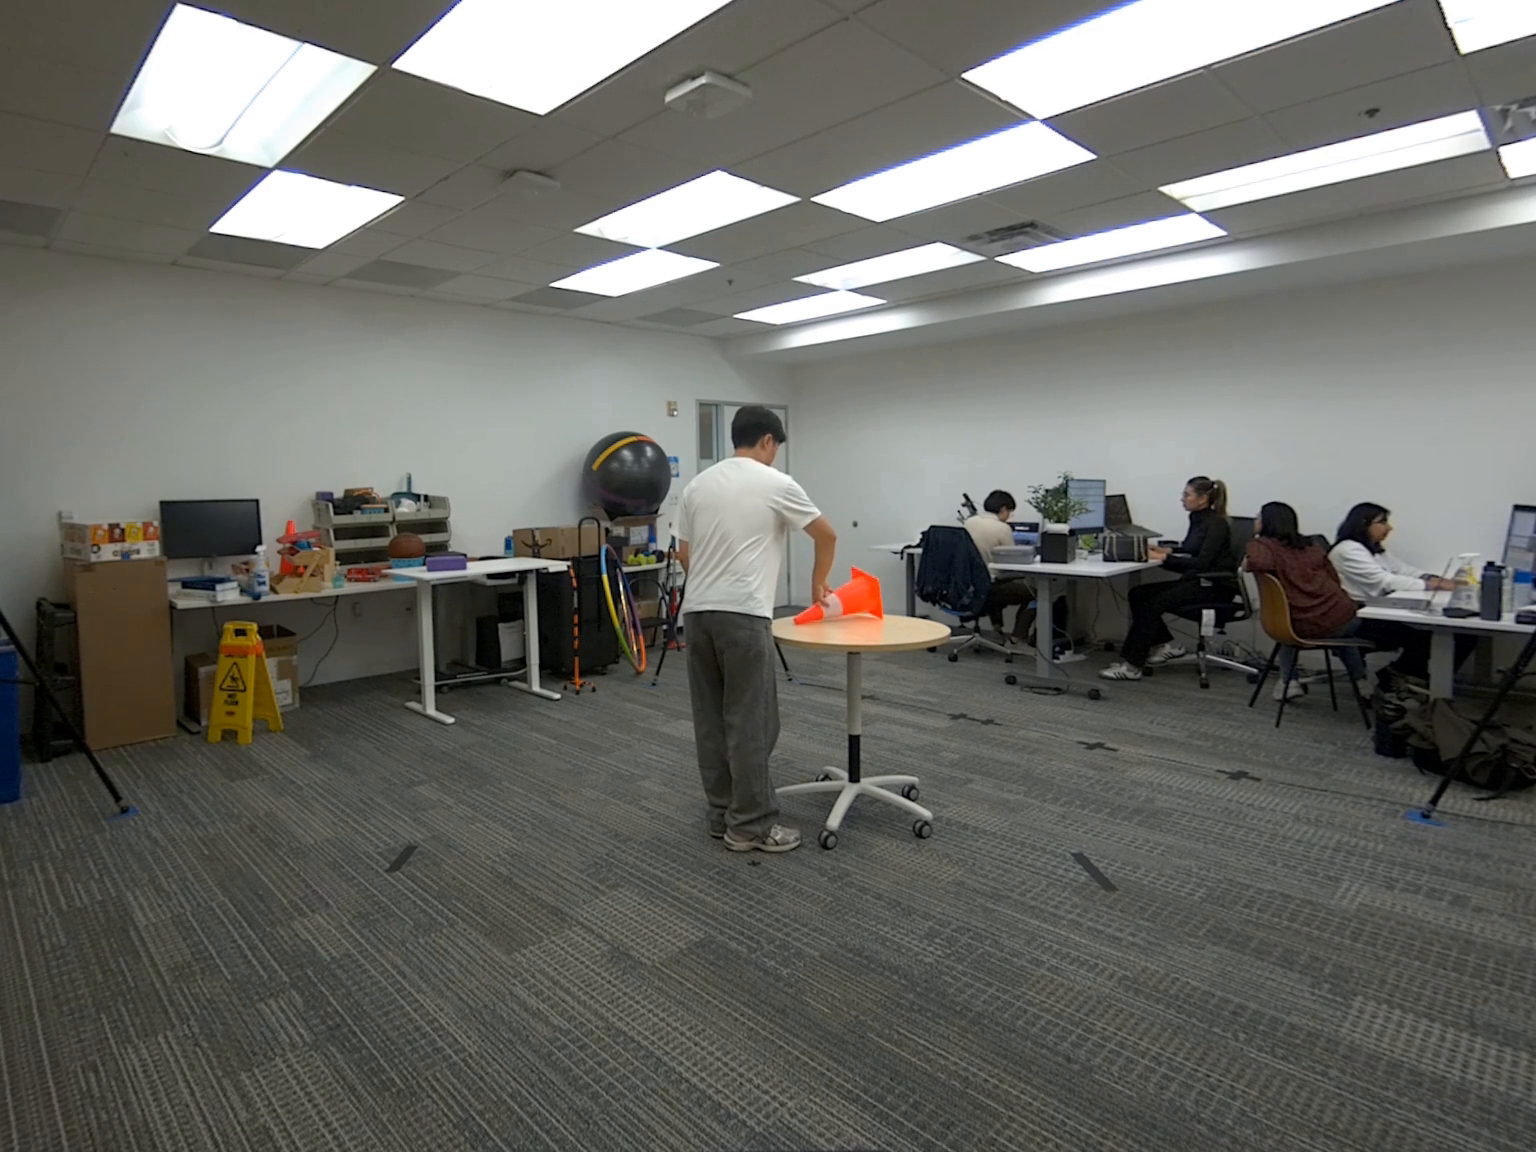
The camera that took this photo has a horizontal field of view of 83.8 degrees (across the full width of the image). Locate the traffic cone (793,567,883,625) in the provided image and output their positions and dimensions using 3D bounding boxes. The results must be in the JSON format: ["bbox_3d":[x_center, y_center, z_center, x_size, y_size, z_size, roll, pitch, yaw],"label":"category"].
[{"bbox_3d":[0.279,0.141,3.667,0.379,0.198,0.212,-22,28,-25],"label":"traffic cone"}]
